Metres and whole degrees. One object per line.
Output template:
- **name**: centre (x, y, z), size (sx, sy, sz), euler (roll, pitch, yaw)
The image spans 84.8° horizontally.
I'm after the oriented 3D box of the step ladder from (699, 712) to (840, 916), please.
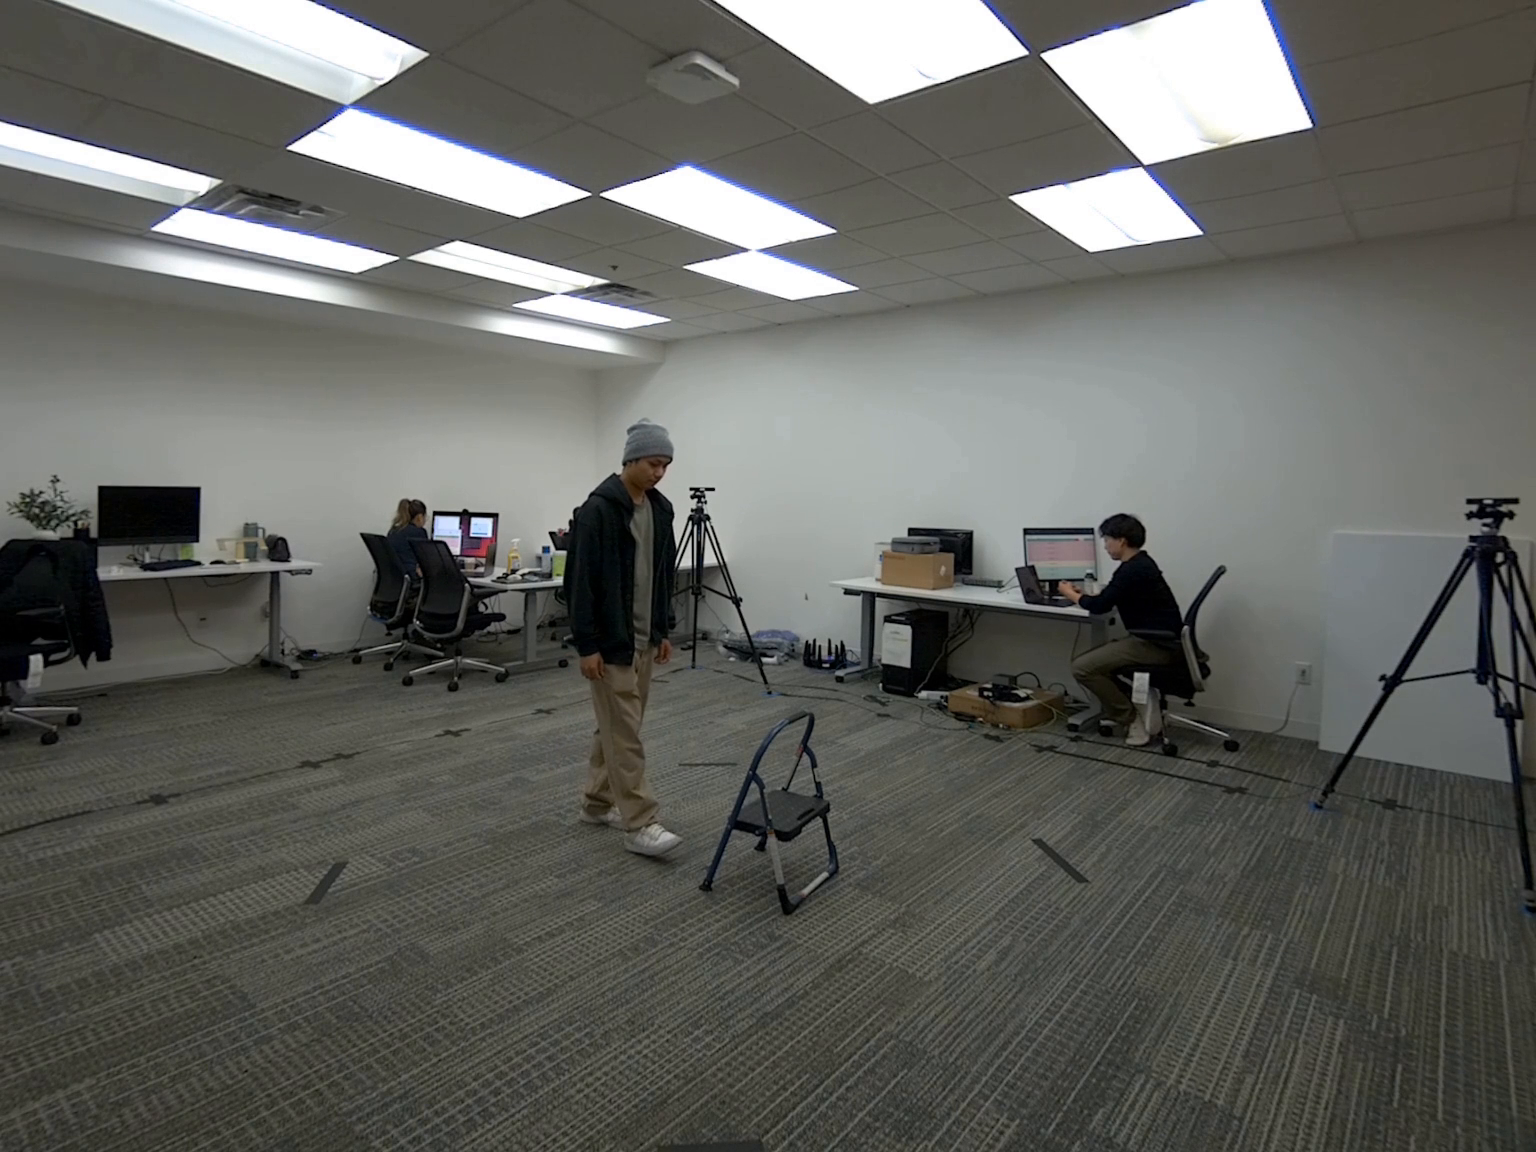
- **step ladder**: centre (0.013, 0.776, 3.017), size (0.359, 0.604, 0.420), euler (3, 4, 29)
